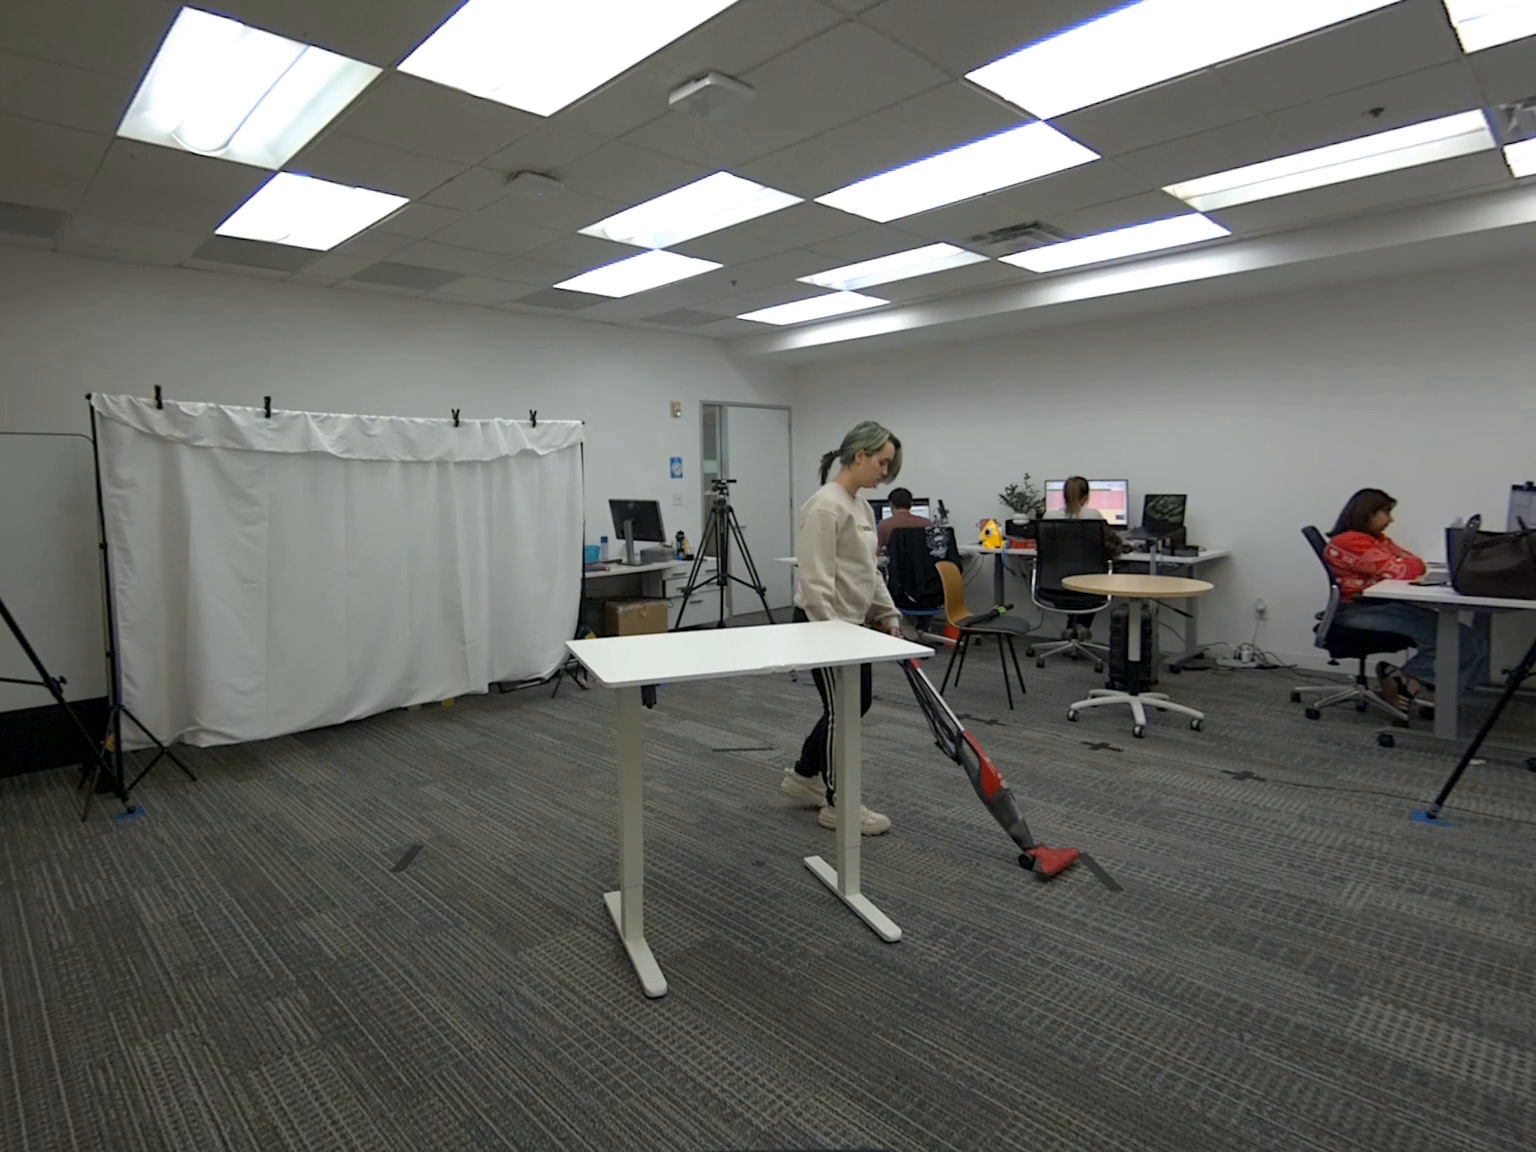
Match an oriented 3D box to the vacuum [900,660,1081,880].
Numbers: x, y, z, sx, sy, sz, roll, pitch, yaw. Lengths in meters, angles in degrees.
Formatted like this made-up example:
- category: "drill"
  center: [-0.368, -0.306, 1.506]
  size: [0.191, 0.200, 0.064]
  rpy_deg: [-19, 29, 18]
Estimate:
- category: "vacuum"
  center: [0.738, 0.630, 3.291]
  size: [0.245, 1.085, 0.143]
  rpy_deg: [4, -46, -47]
